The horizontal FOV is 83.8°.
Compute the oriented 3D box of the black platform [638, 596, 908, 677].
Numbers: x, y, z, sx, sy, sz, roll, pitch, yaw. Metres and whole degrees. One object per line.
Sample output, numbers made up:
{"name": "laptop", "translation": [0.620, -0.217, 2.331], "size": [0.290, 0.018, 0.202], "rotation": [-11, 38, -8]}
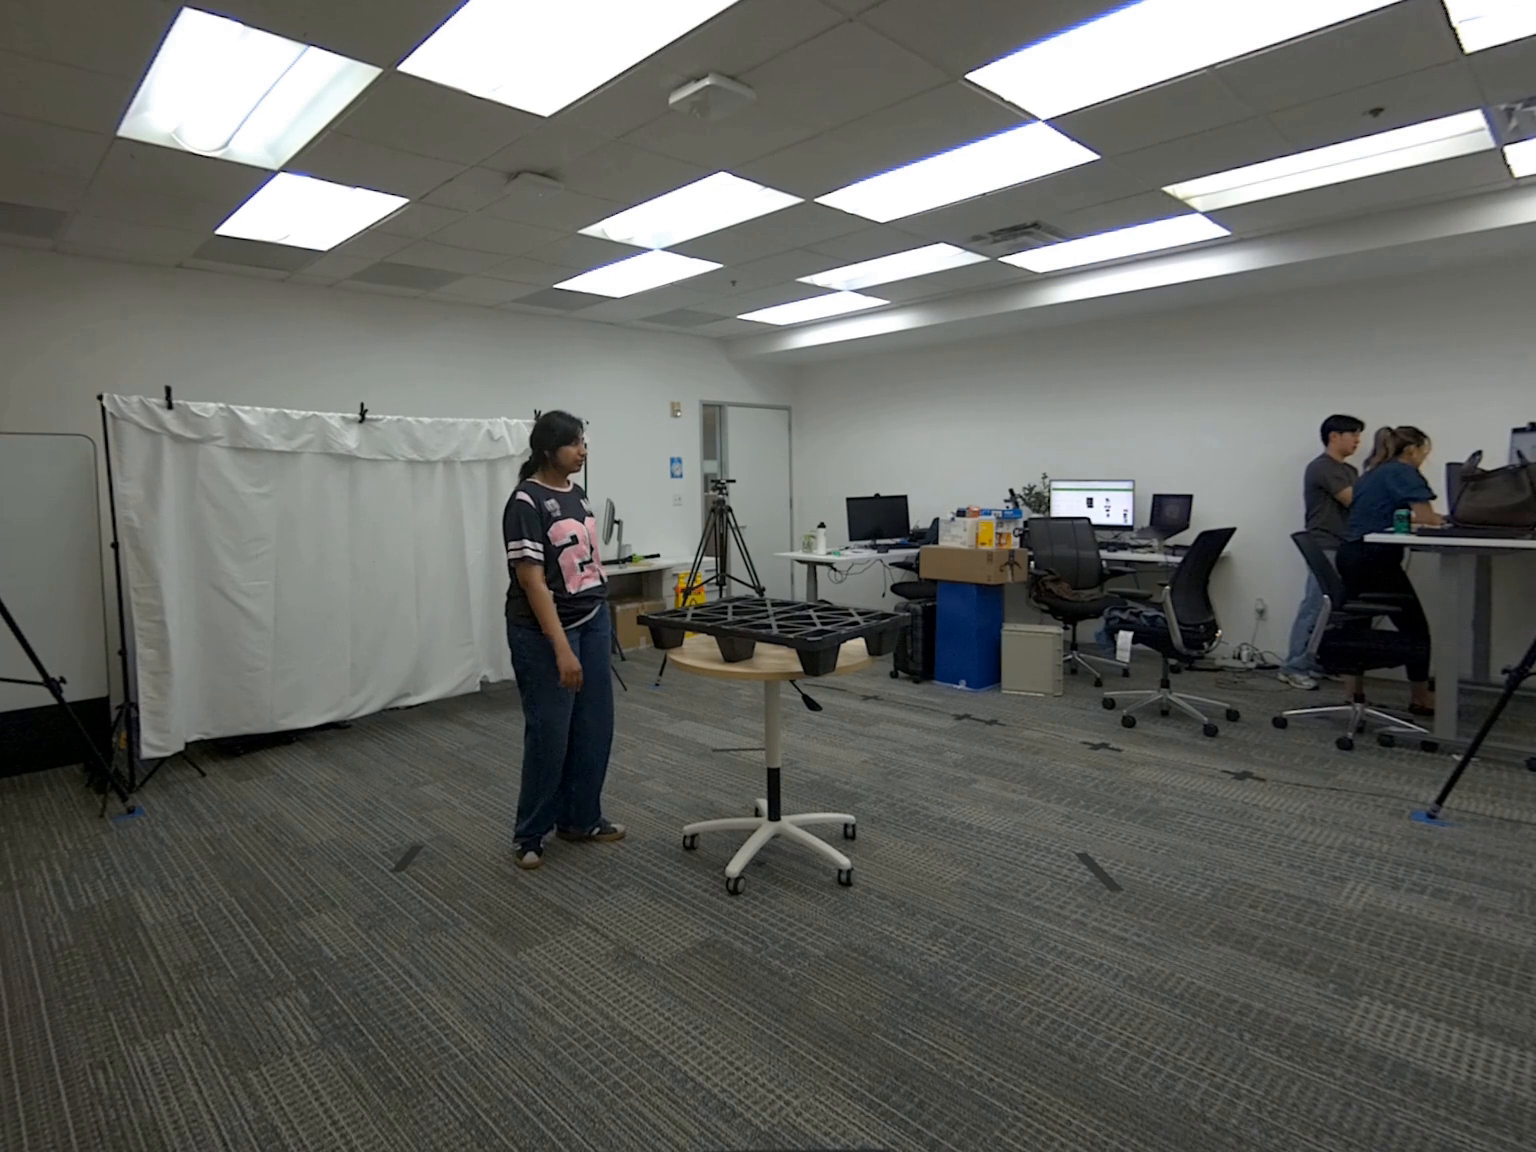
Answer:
{"name": "black platform", "translation": [0.010, 0.205, 3.054], "size": [0.830, 0.142, 0.590], "rotation": [4, 9, 41]}
